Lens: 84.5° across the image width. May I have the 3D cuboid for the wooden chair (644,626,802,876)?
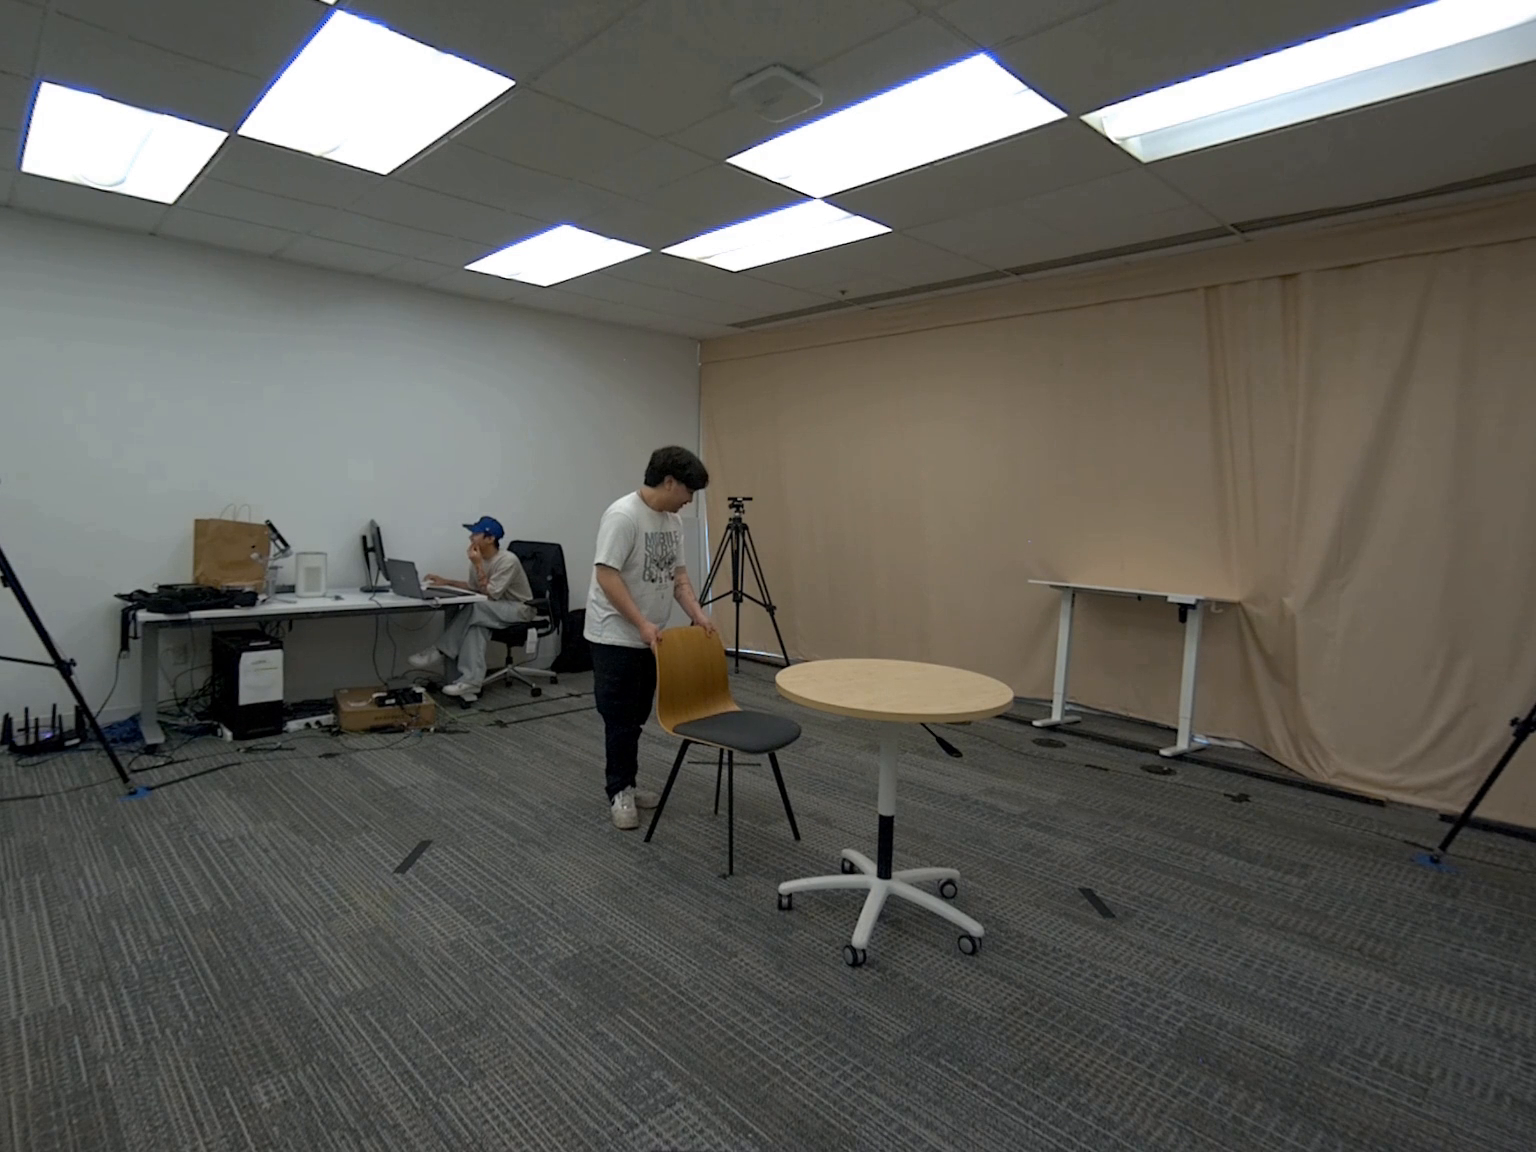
[{"bbox_3d":[-0.172,0.654,3.385,0.535,0.877,0.467,-2,0,39],"label":"wooden chair"}]
